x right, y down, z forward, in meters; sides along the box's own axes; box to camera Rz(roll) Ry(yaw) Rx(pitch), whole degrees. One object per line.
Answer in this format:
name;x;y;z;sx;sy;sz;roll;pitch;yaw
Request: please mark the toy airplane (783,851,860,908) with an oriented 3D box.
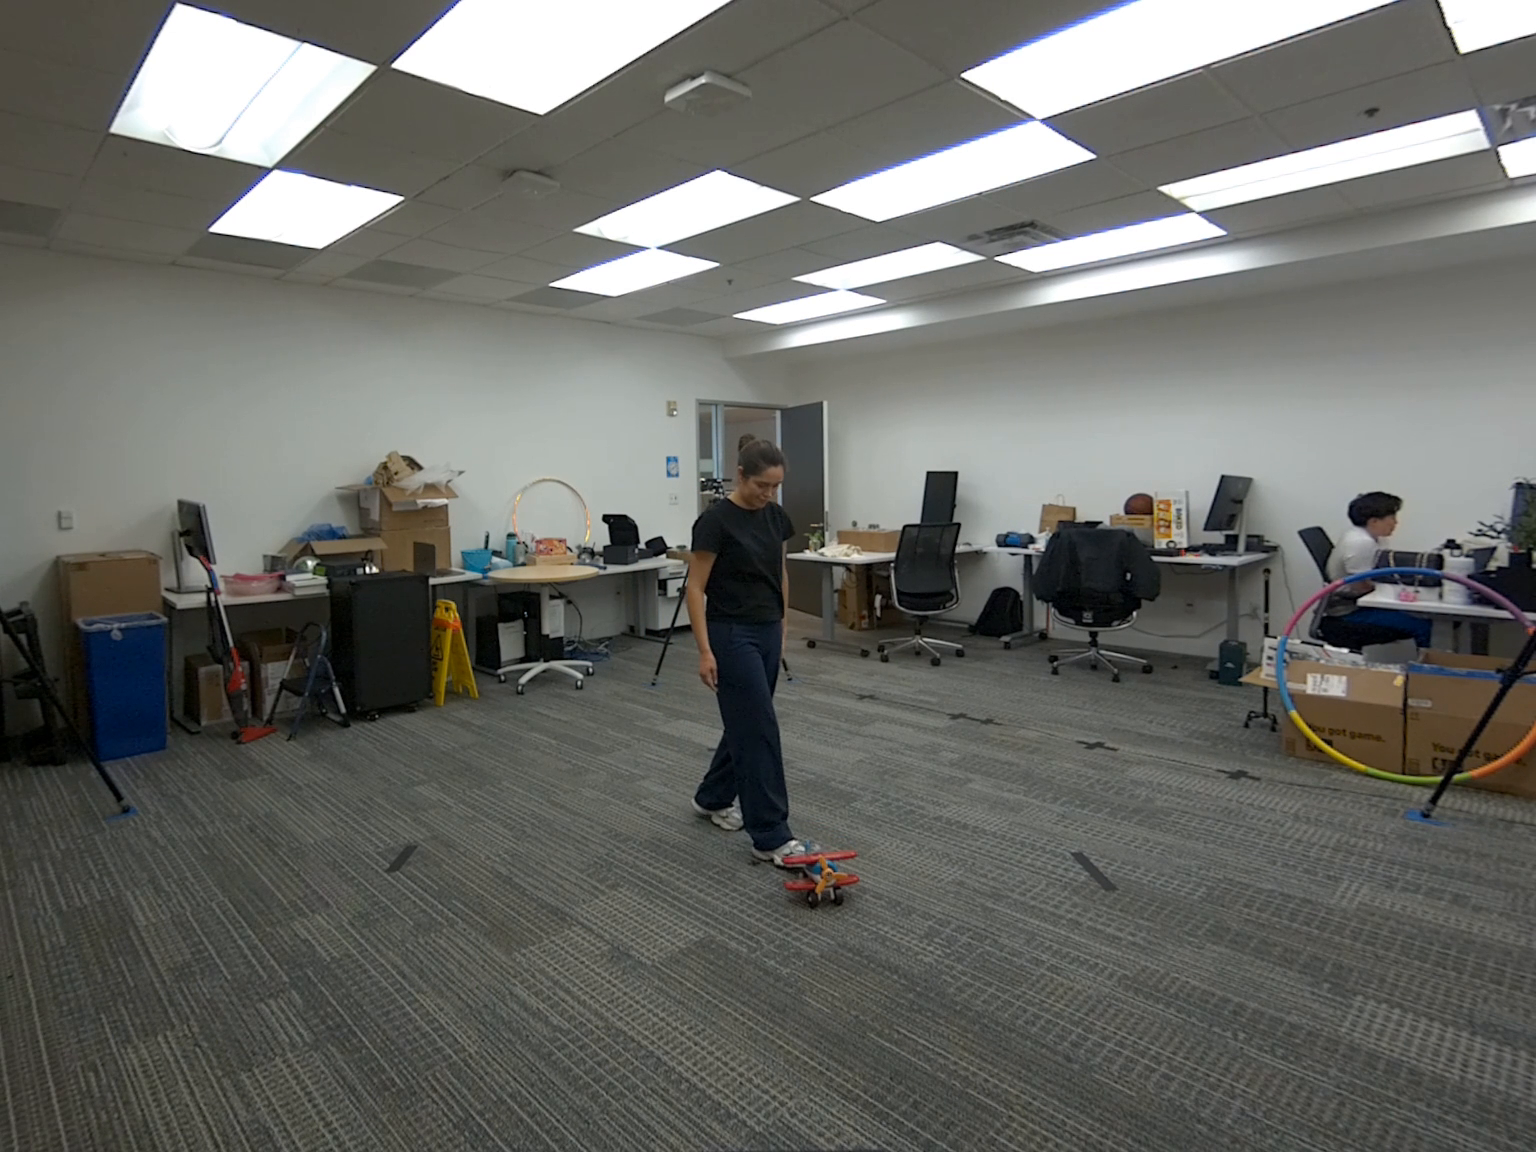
toy airplane;0.152;0.990;2.877;0.245;0.155;0.267;-6;8;-39
